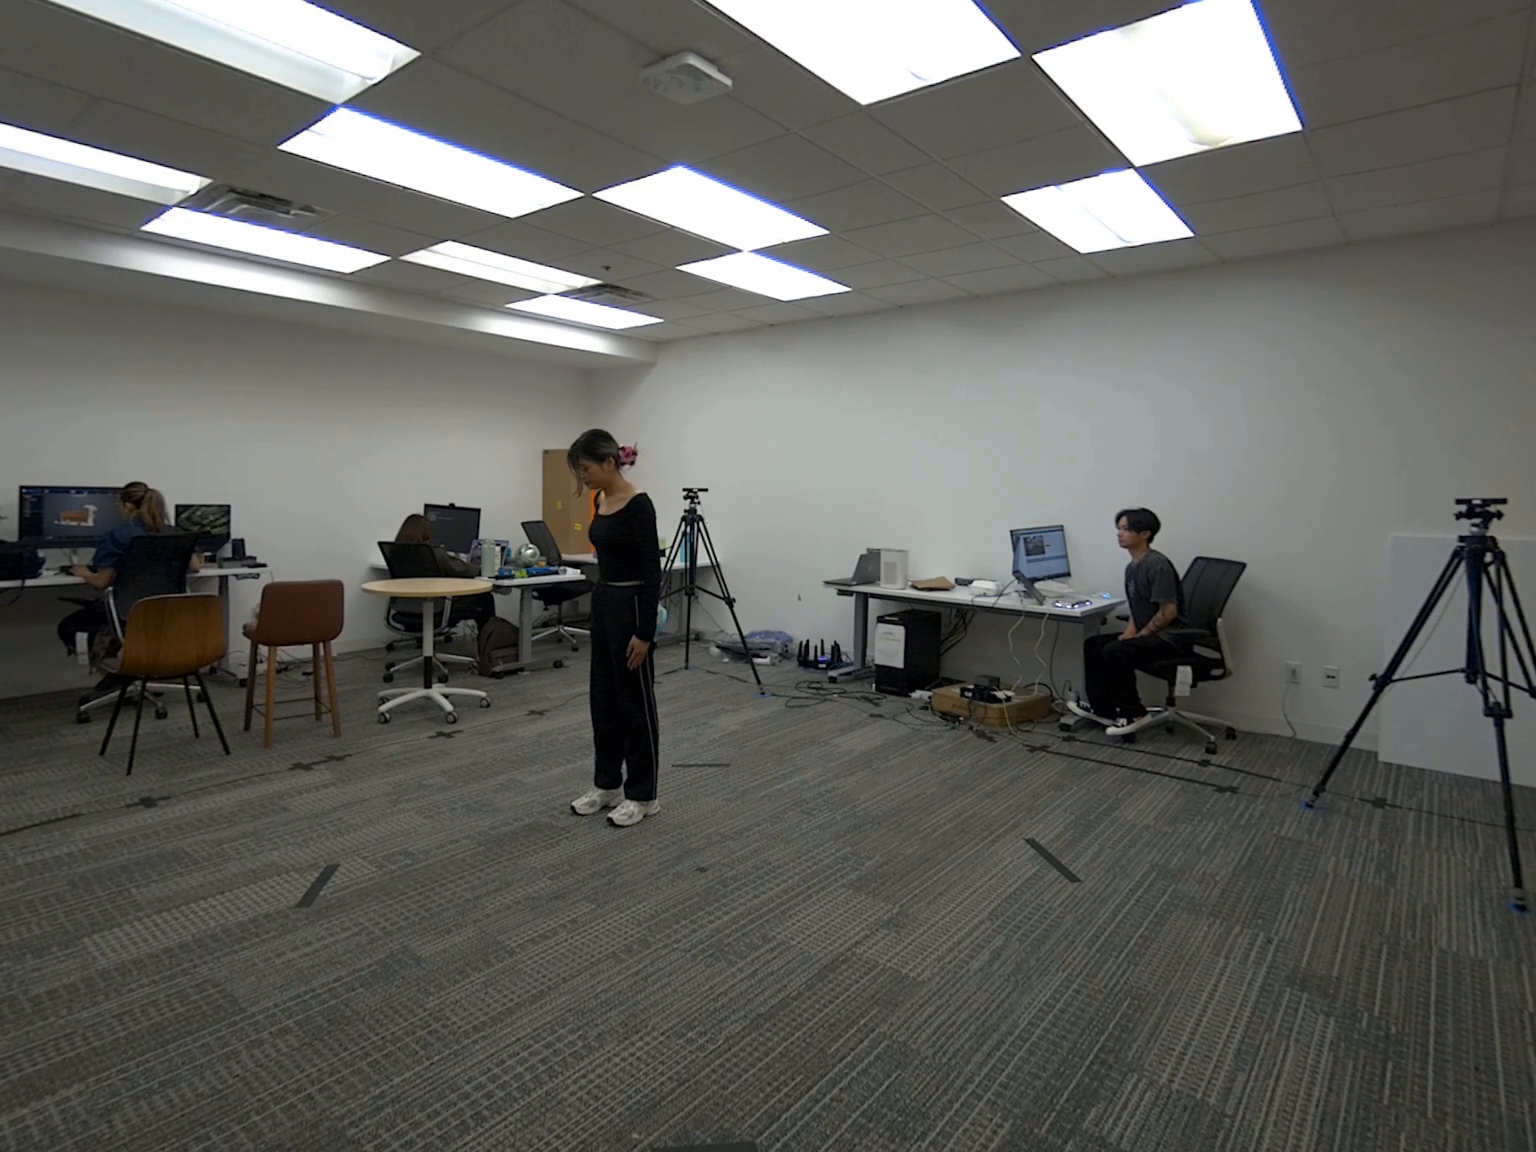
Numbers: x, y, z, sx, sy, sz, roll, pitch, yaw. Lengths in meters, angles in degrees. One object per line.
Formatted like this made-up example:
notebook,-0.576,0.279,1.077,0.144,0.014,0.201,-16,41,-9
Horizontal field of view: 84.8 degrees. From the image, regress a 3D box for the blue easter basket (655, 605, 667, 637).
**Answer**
blue easter basket,-0.629,0.206,4.091,0.151,0.244,0.251,35,-13,-27
